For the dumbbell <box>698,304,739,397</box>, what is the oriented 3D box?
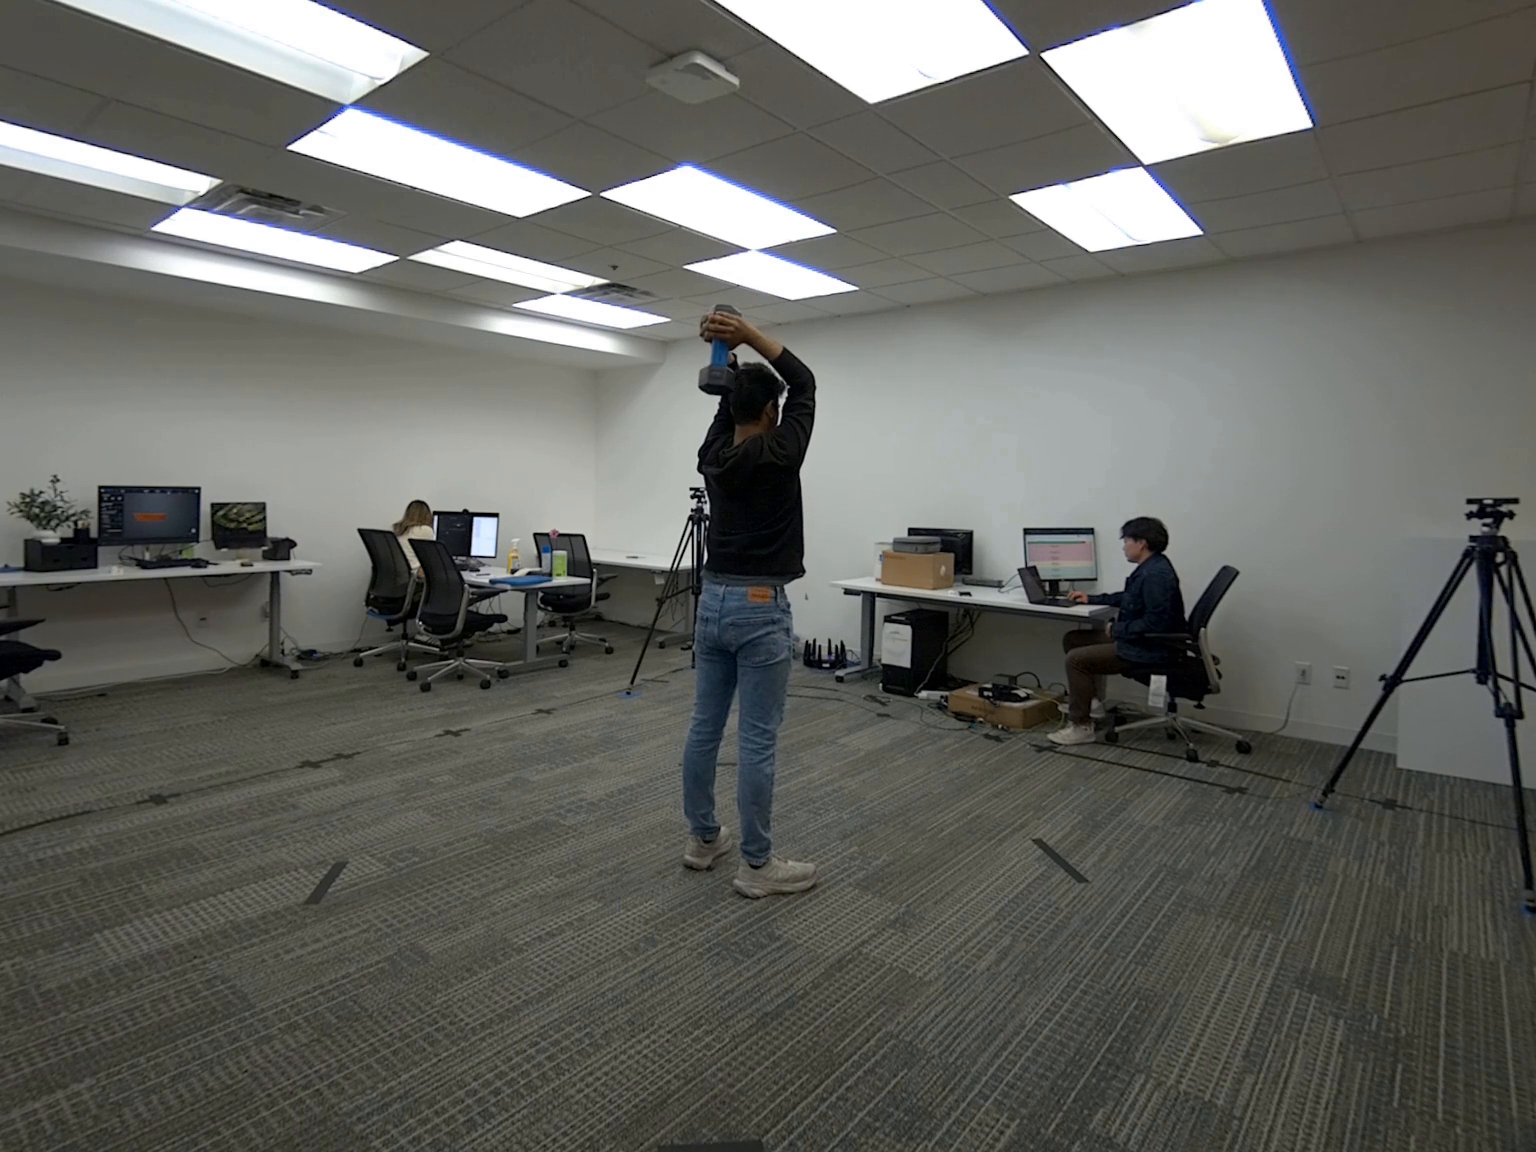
[{"bbox_3d":[-0.166,-0.766,2.892,0.105,0.296,0.126,7,-11,-35],"label":"dumbbell"}]
